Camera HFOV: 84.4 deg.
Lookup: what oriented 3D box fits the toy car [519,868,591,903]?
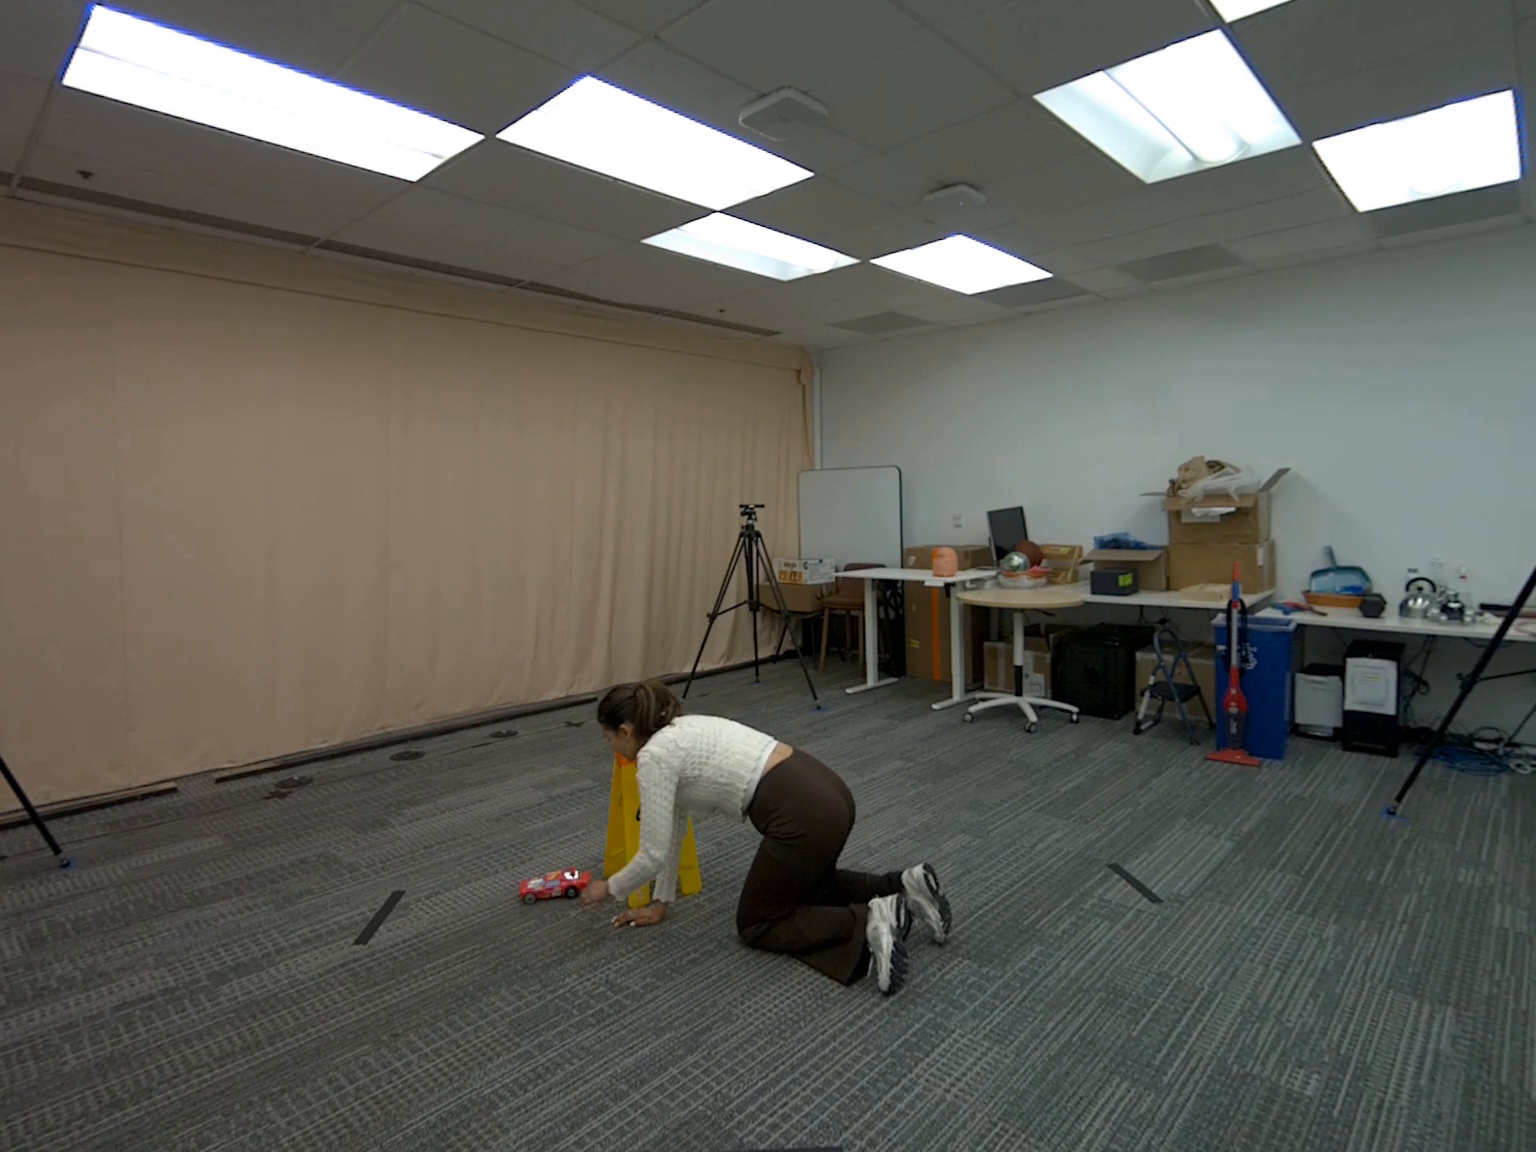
[{"bbox_3d":[-0.765,1.123,3.052,0.251,0.083,0.132,-14,5,-13],"label":"toy car"}]
